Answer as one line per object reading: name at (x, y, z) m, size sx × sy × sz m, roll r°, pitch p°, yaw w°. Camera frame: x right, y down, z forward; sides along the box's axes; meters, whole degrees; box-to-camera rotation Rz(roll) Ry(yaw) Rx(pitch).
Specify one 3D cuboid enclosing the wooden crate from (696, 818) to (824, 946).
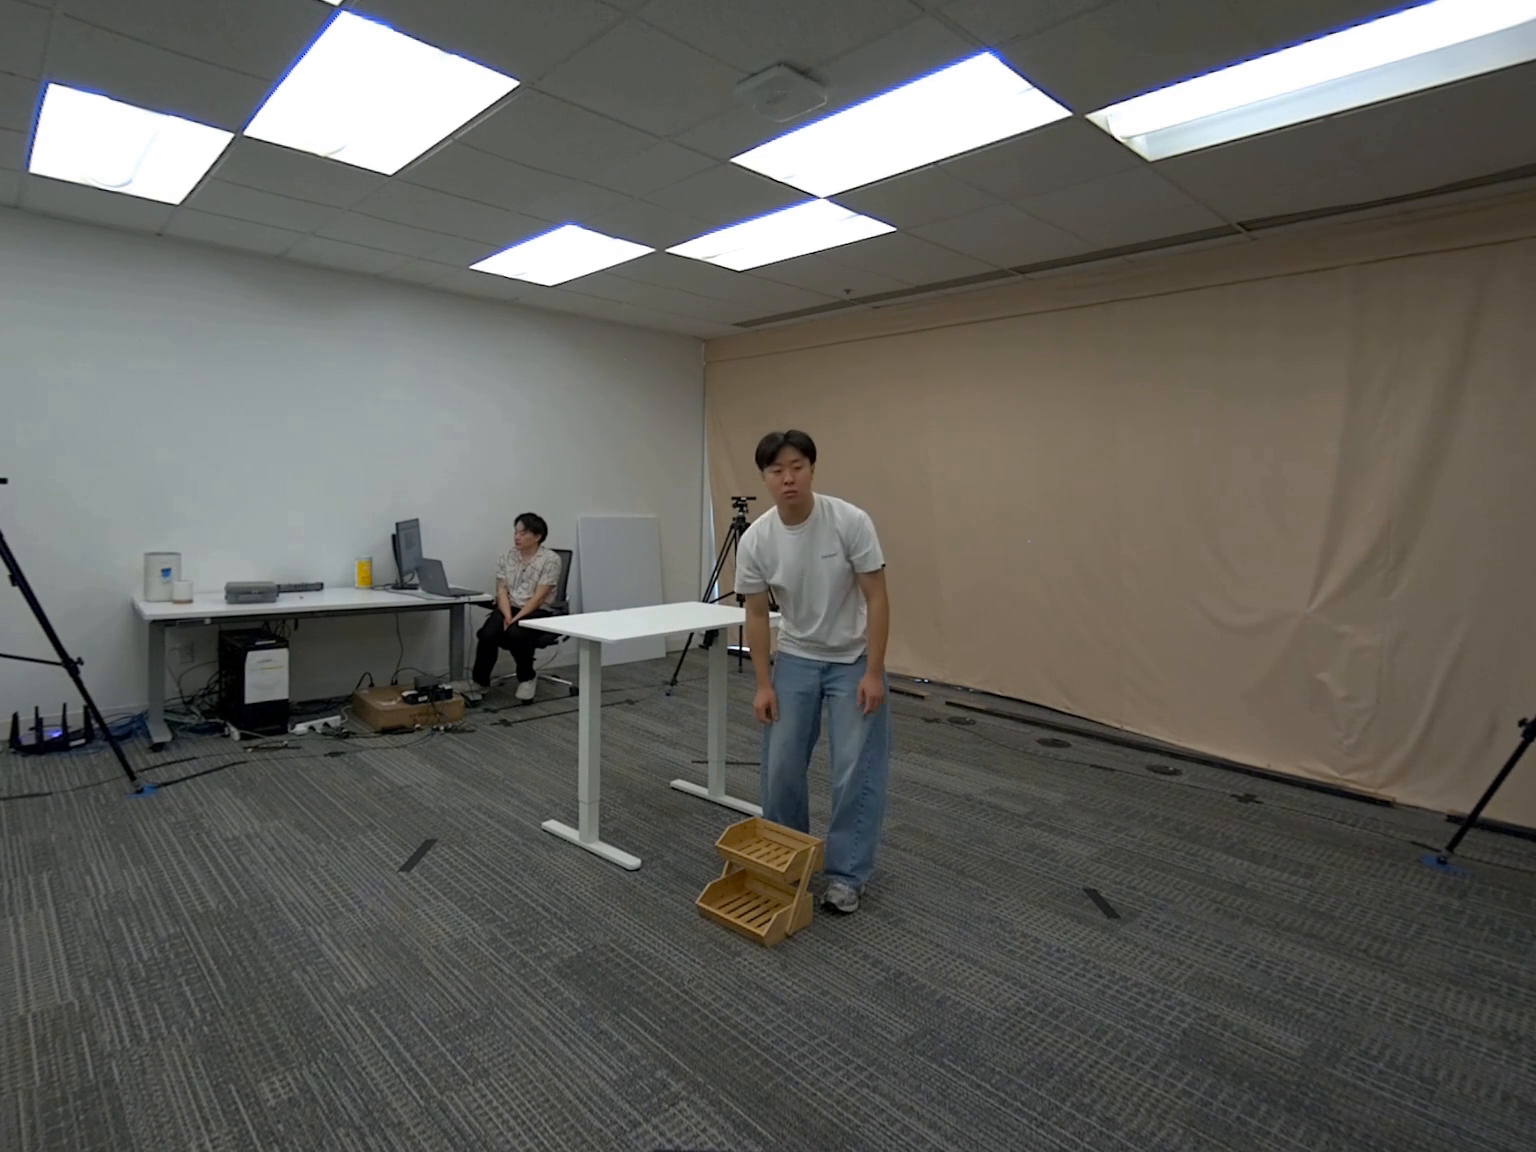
wooden crate at (-0.035, 1.000, 2.797) m, size 0.333 × 0.273 × 0.295 m, roll 5°, pitch 5°, yaw 41°
